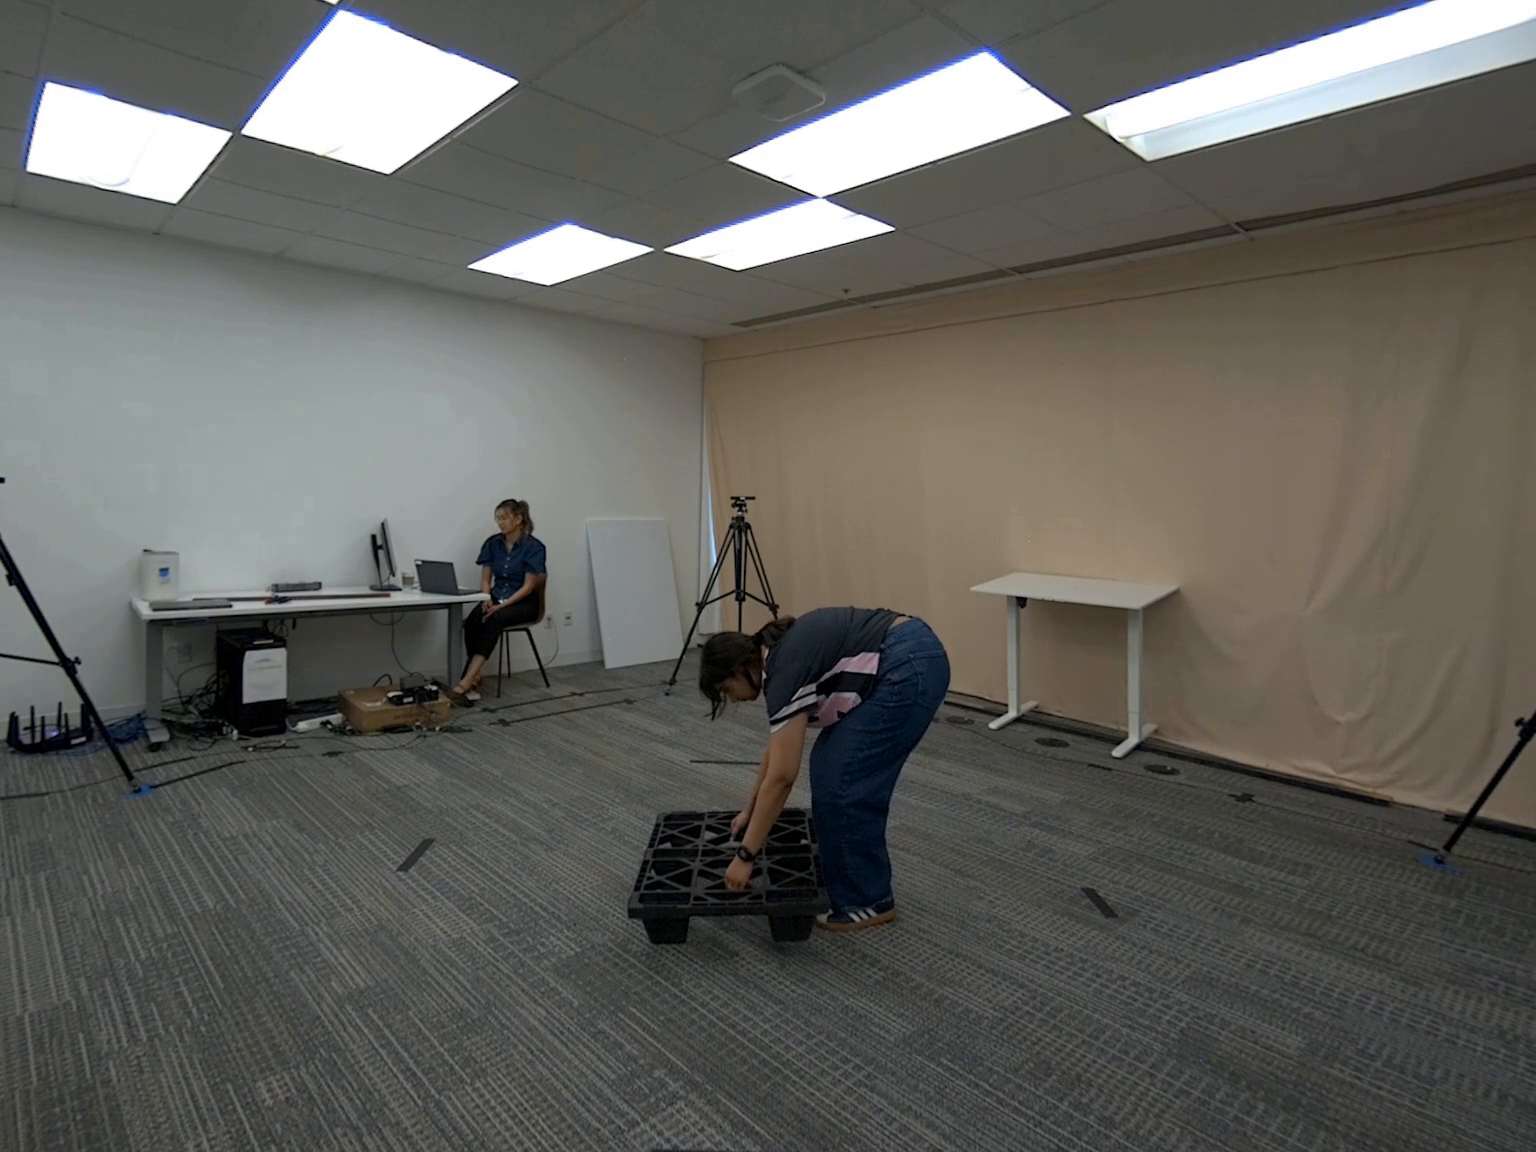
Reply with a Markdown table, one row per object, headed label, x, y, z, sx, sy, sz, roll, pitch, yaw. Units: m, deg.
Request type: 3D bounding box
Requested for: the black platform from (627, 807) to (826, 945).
| label | x | y | z | sx | sy | sz | roll | pitch | yaw |
| --- | --- | --- | --- | --- | --- | --- | --- | --- | --- |
| black platform | -0.130 | 0.995 | 2.867 | 0.606 | 0.143 | 0.806 | -3 | 4 | 1 |
